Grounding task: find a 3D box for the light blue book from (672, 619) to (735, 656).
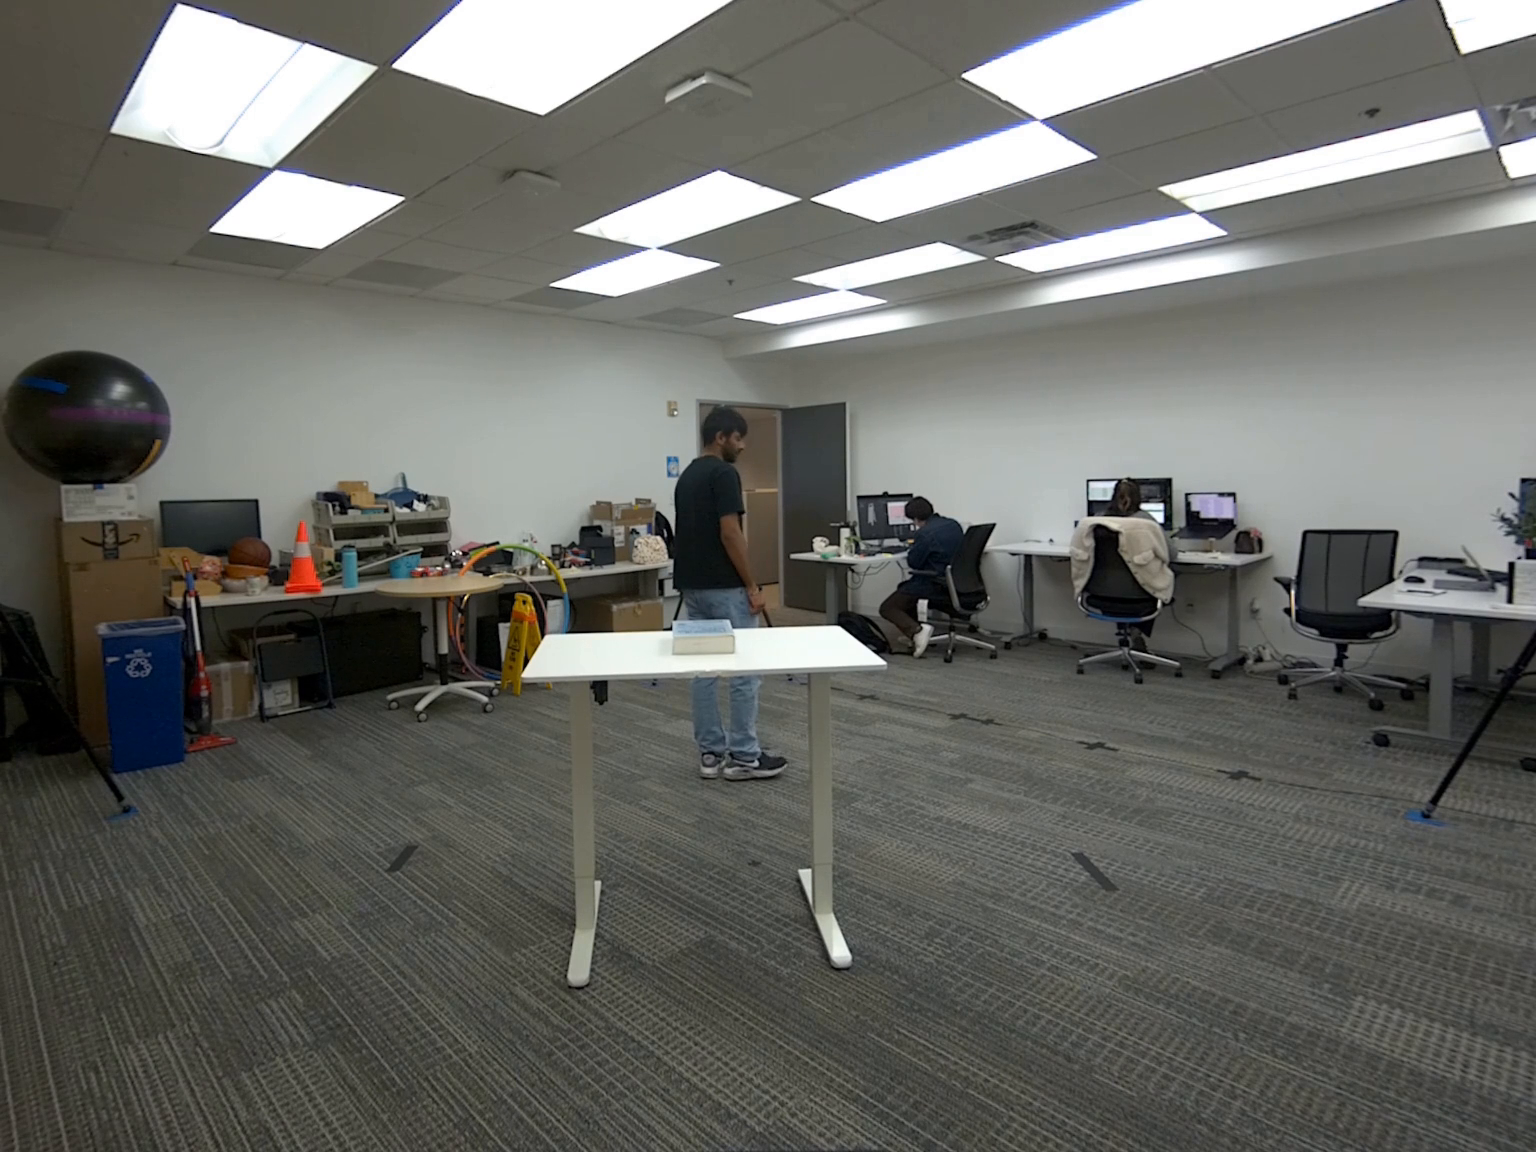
[{"bbox_3d":[-0.221,0.192,2.665,0.191,0.058,0.263,-2,8,-3],"label":"light blue book"}]
